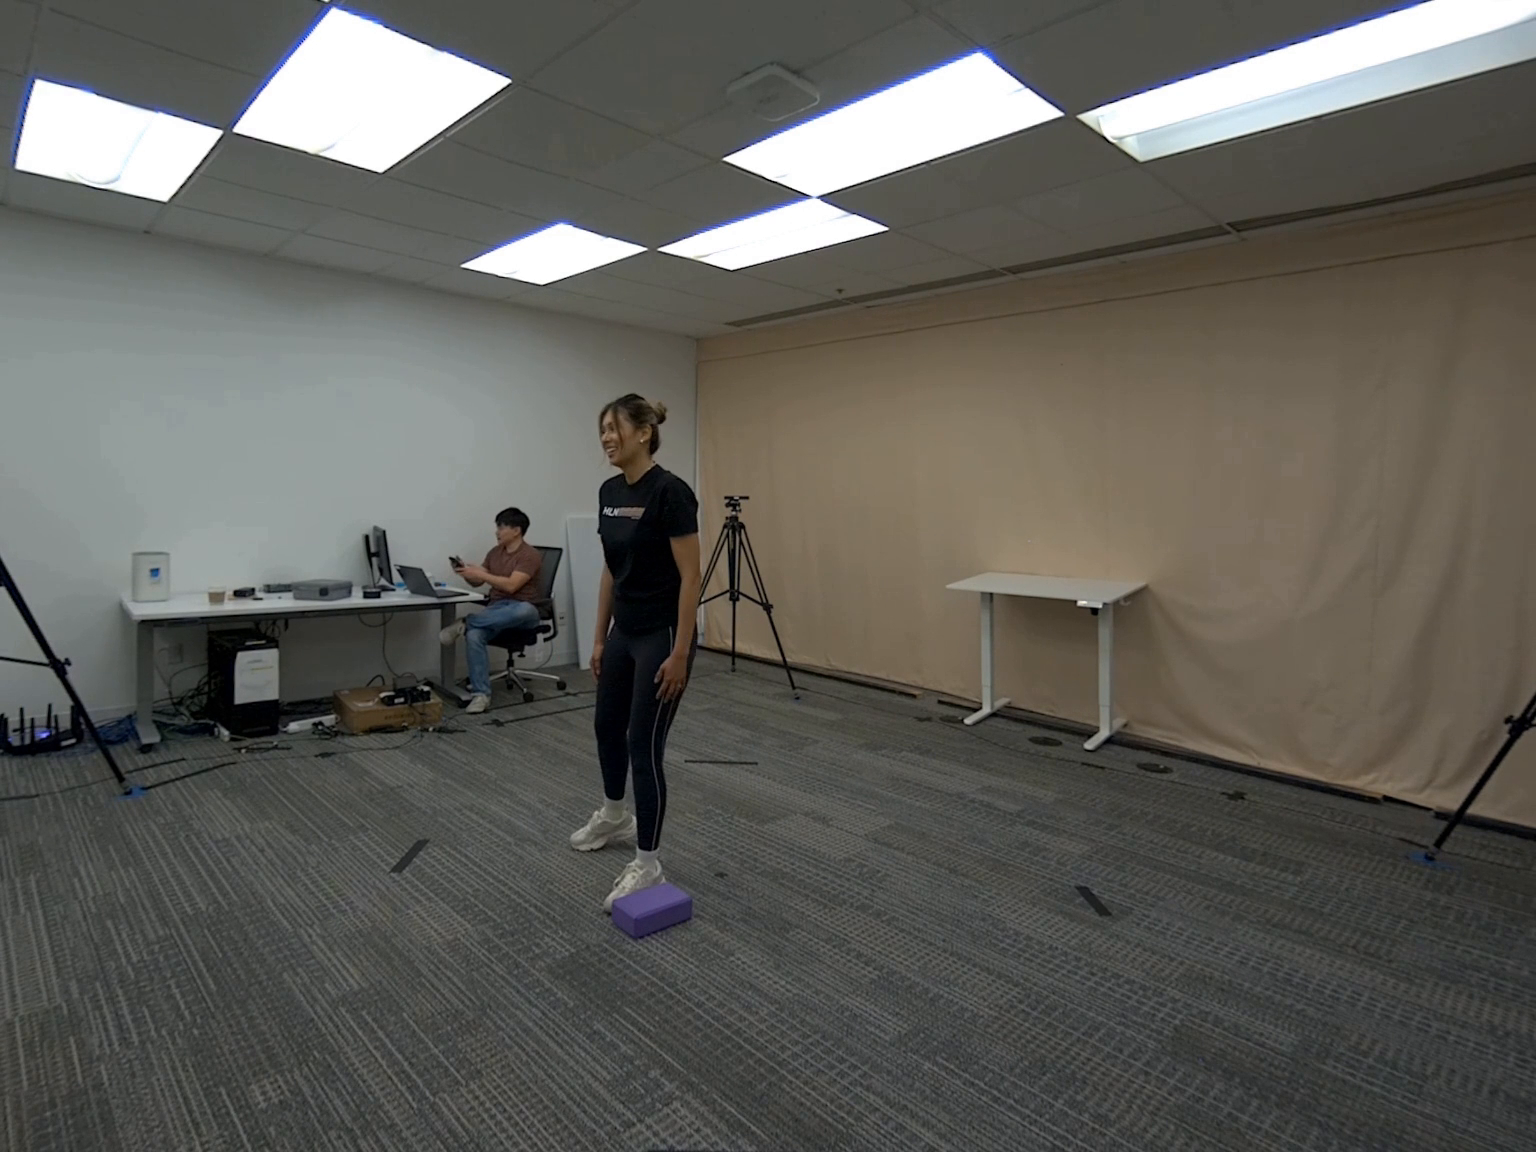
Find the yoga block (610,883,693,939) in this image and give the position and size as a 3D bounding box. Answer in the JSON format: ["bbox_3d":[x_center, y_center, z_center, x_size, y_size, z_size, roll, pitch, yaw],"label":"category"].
[{"bbox_3d":[-0.382,1.090,2.750,0.224,0.076,0.153,-4,8,-42],"label":"yoga block"}]
